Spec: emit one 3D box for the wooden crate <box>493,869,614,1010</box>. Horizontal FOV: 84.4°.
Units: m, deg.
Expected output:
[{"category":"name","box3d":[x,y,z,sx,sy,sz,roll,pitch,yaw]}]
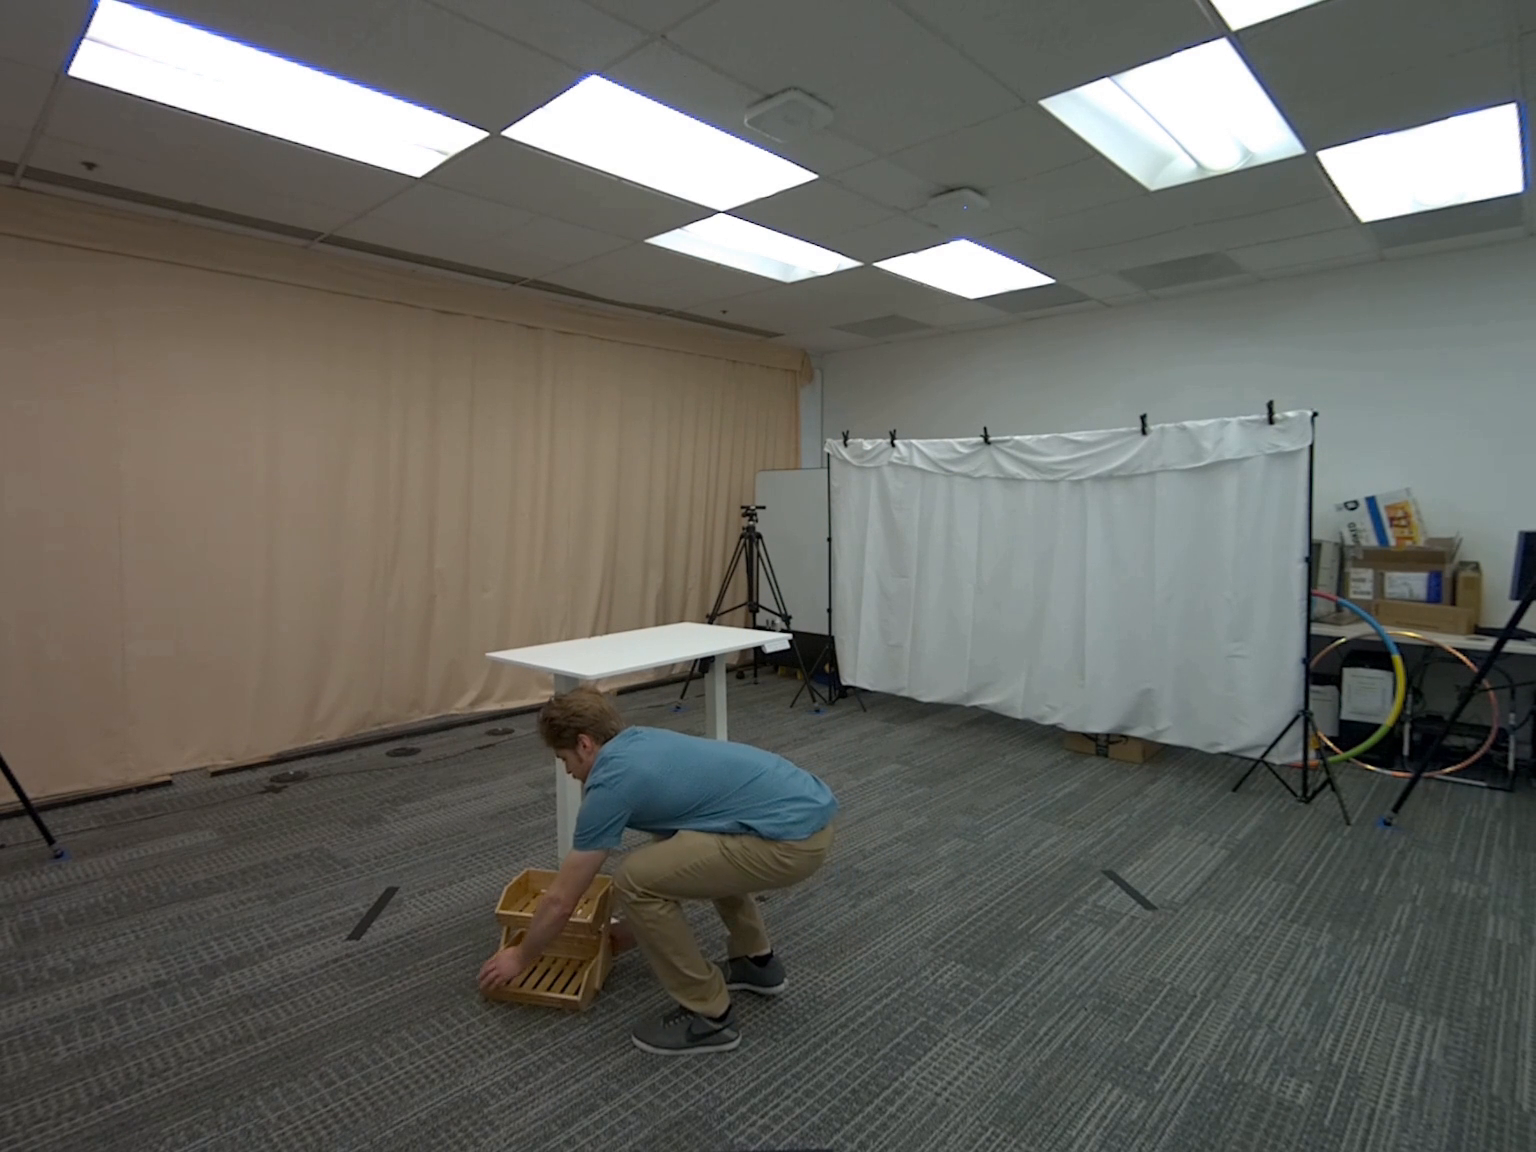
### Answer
[{"category":"wooden crate","box3d":[-0.631,1.067,2.457,0.328,0.272,0.299,0,4,9]}]
